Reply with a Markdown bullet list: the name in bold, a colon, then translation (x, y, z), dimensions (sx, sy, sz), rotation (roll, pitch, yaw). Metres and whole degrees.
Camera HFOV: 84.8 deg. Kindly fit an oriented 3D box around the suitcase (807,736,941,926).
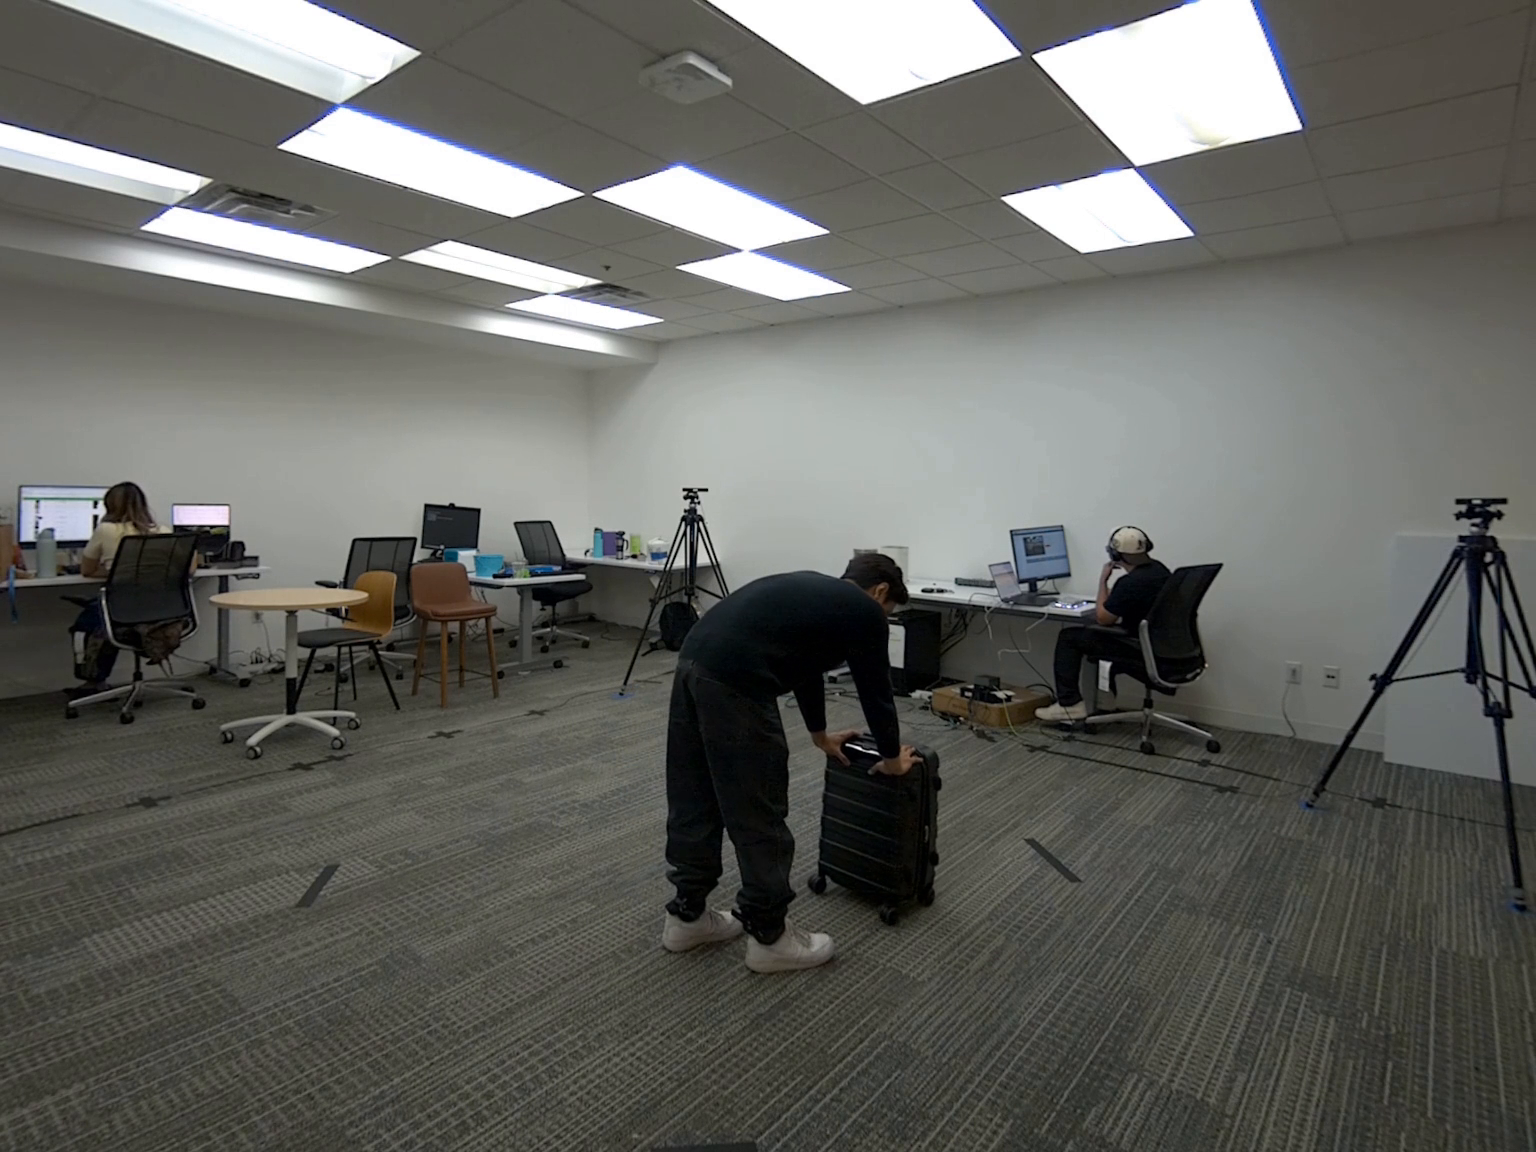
- **suitcase**: translation (0.373, 0.825, 2.938), dimensions (0.388, 0.549, 0.240), rotation (4, 1, 44)
